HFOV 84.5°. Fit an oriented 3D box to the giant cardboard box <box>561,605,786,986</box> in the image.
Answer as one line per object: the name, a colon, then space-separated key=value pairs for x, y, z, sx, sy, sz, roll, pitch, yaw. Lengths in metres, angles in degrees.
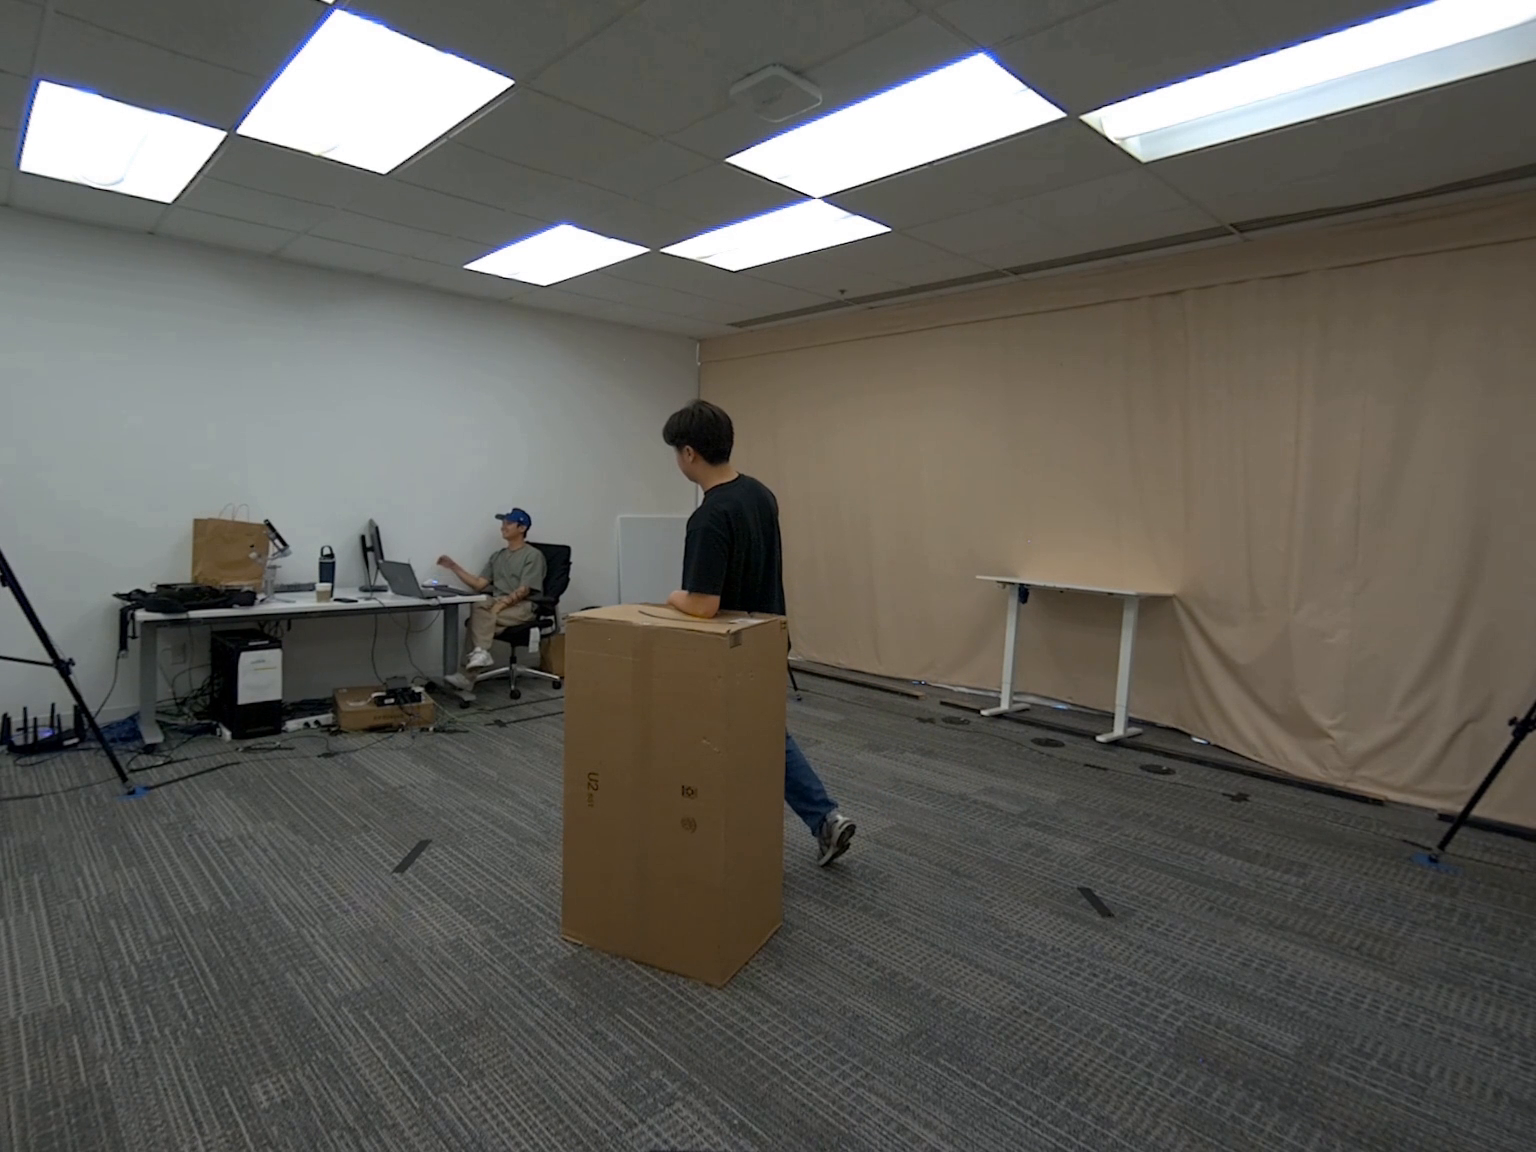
giant cardboard box: x=-0.298 y=0.632 z=2.672 sx=0.596 sy=1.025 sz=0.438 roll=3 pitch=3 yaw=28
